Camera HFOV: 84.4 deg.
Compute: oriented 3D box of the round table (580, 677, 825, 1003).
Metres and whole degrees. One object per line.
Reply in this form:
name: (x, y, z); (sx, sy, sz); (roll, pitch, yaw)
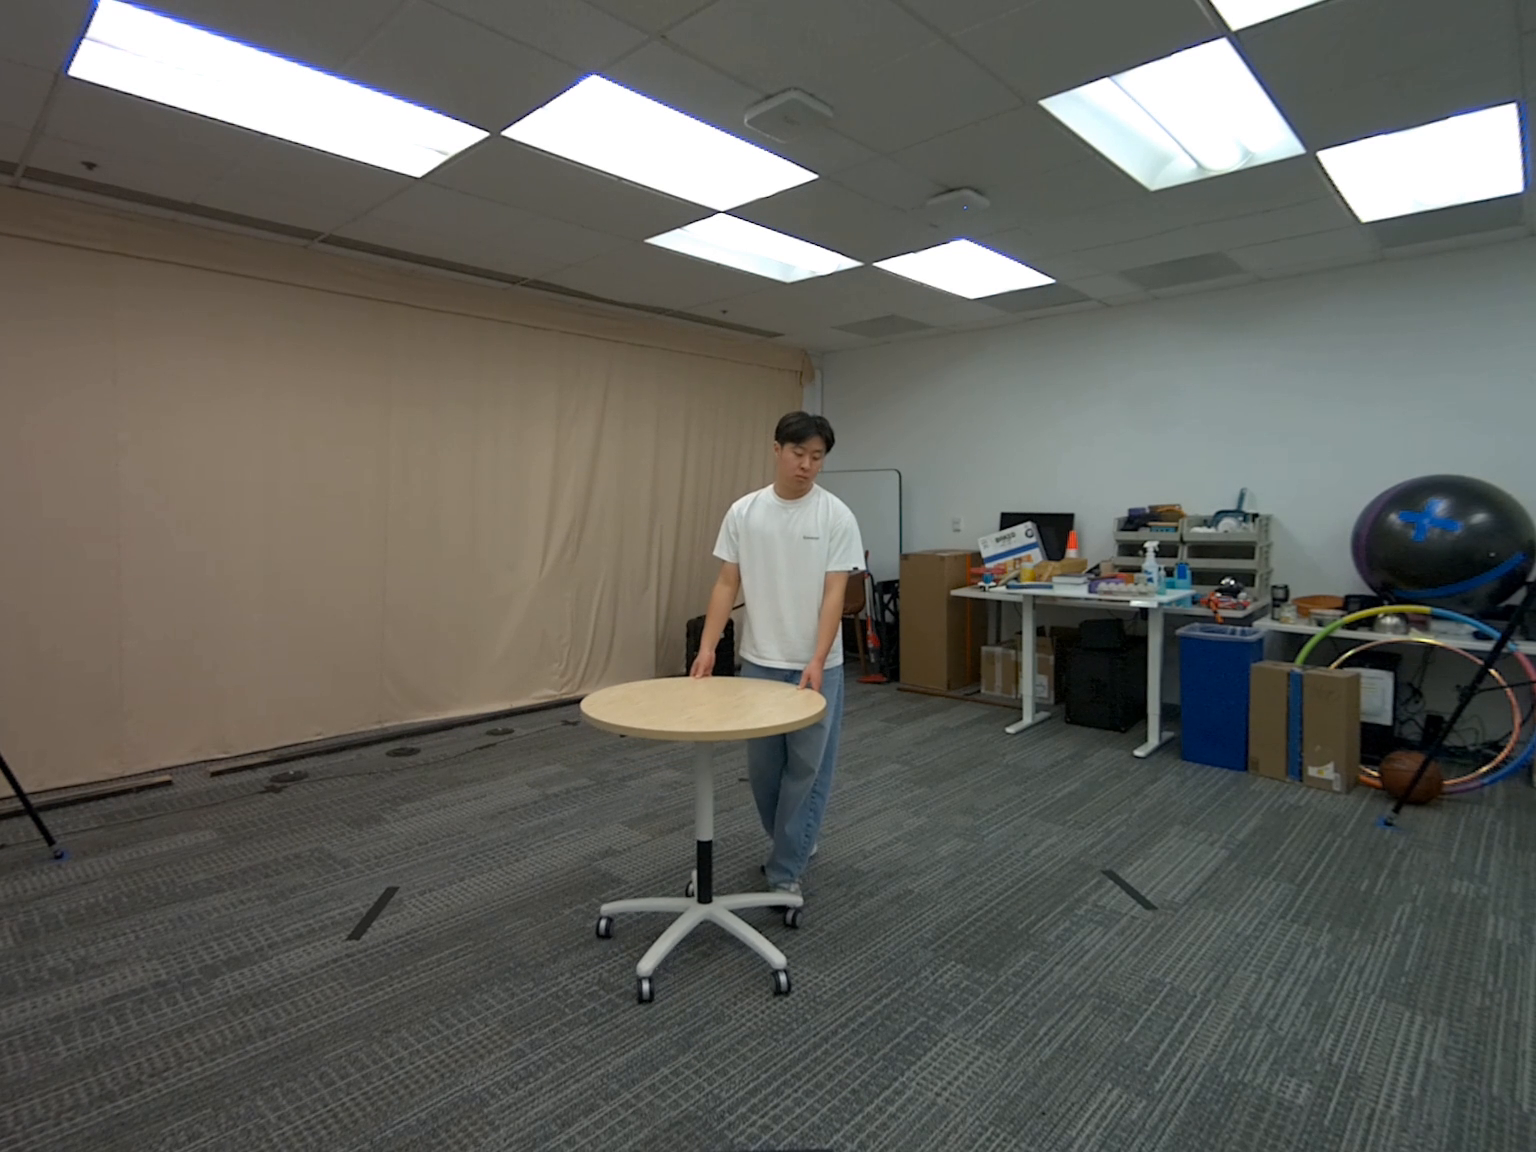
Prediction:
round table: (-0.201, 0.784, 2.653); (0.763, 0.792, 0.766); (-1, 4, -2)
